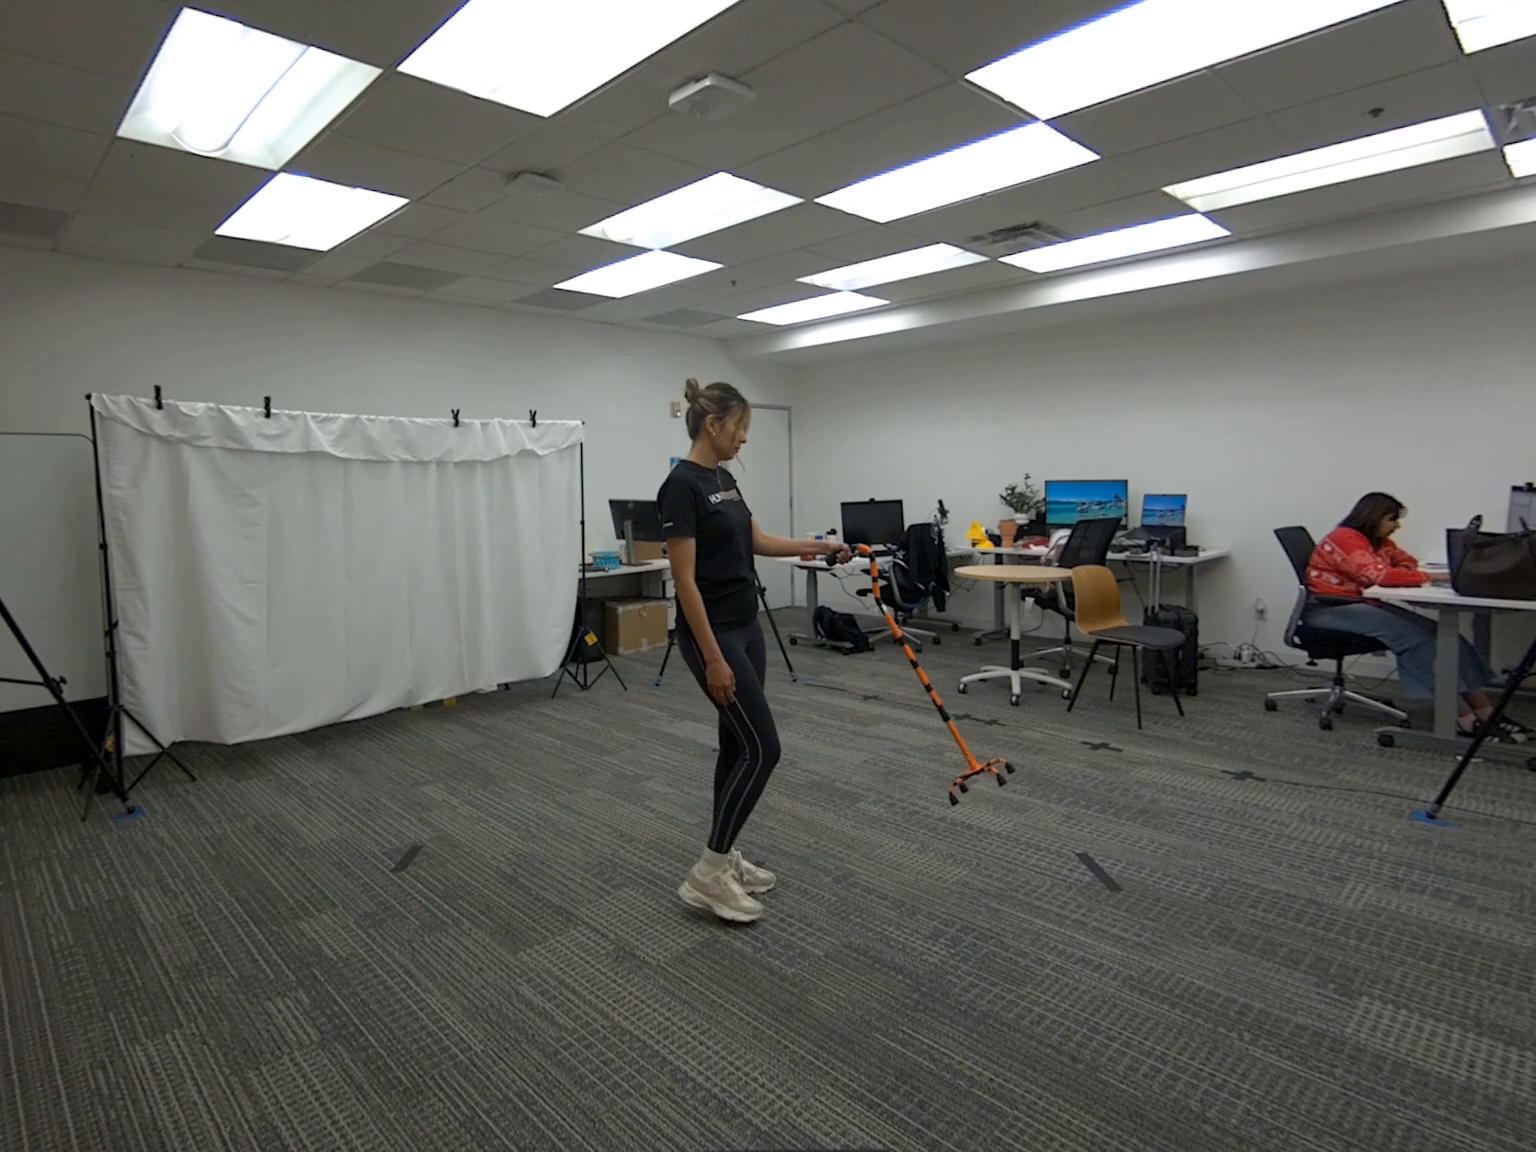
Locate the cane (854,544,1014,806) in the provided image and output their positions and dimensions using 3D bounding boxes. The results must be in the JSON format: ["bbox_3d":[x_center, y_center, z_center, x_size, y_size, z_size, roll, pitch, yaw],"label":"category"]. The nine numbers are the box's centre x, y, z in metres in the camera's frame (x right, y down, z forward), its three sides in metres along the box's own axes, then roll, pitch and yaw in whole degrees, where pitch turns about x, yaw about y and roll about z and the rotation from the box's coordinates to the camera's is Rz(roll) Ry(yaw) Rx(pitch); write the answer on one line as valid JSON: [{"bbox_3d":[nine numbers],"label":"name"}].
[{"bbox_3d":[0.484,0.313,2.888,0.208,0.920,0.148,-33,-12,28],"label":"cane"}]
